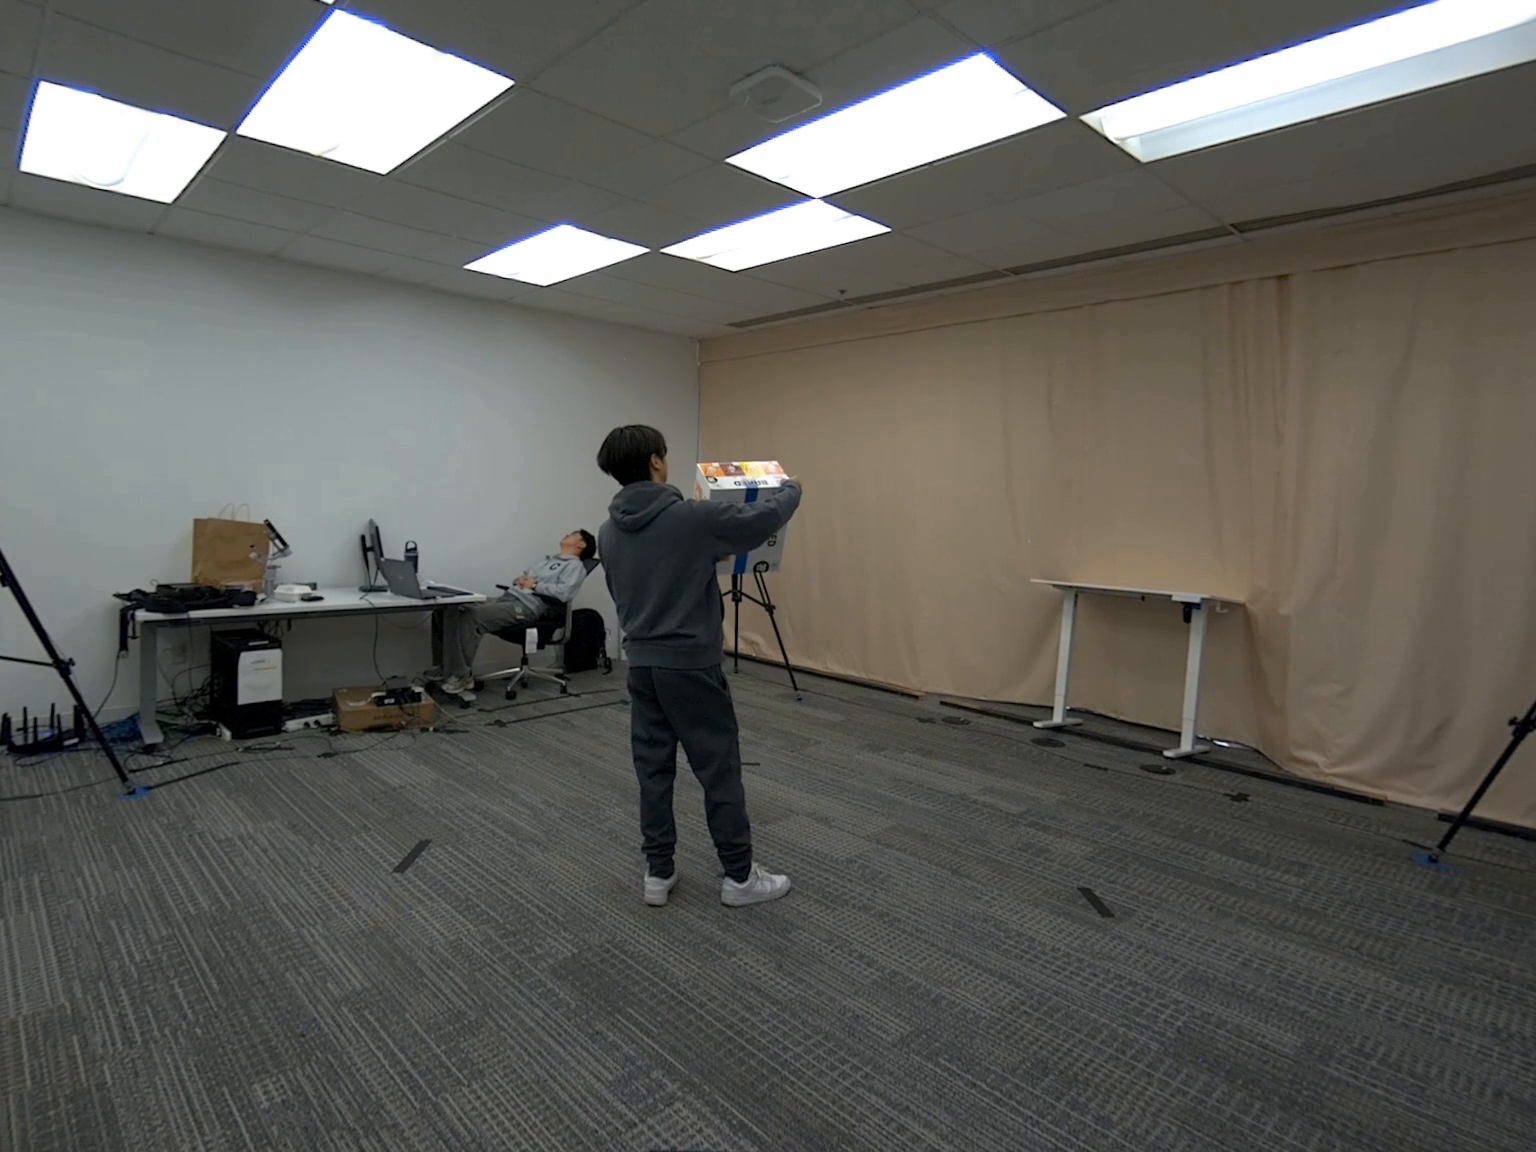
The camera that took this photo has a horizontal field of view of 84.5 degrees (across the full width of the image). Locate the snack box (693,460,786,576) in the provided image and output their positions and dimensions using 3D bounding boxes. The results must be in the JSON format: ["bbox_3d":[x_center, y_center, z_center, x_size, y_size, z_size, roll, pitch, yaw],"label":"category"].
[{"bbox_3d":[-0.122,-0.223,3.367,0.336,0.398,0.212,-3,35,-19],"label":"snack box"}]
